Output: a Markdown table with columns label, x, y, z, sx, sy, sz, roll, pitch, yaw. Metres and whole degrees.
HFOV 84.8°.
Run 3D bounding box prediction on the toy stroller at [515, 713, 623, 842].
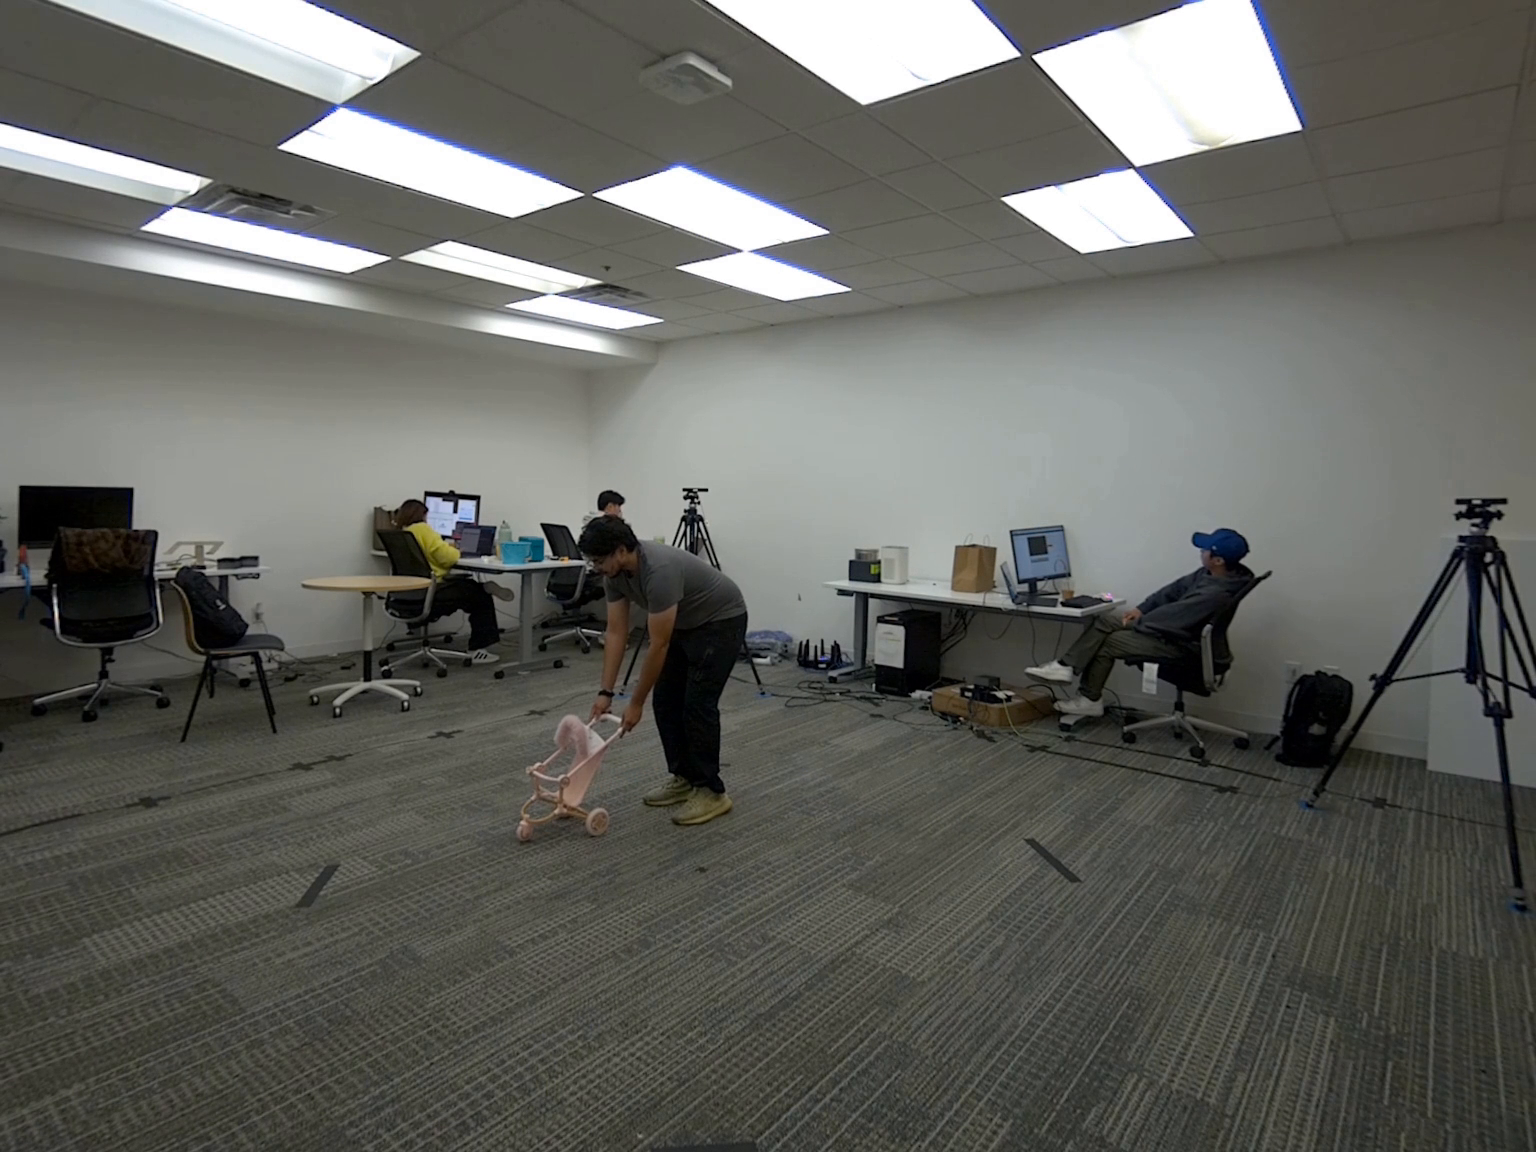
| label | x | y | z | sx | sy | sz | roll | pitch | yaw |
| --- | --- | --- | --- | --- | --- | --- | --- | --- | --- |
| toy stroller | -0.821 | 0.803 | 3.446 | 0.328 | 0.538 | 0.291 | 19 | -9 | -38 |
